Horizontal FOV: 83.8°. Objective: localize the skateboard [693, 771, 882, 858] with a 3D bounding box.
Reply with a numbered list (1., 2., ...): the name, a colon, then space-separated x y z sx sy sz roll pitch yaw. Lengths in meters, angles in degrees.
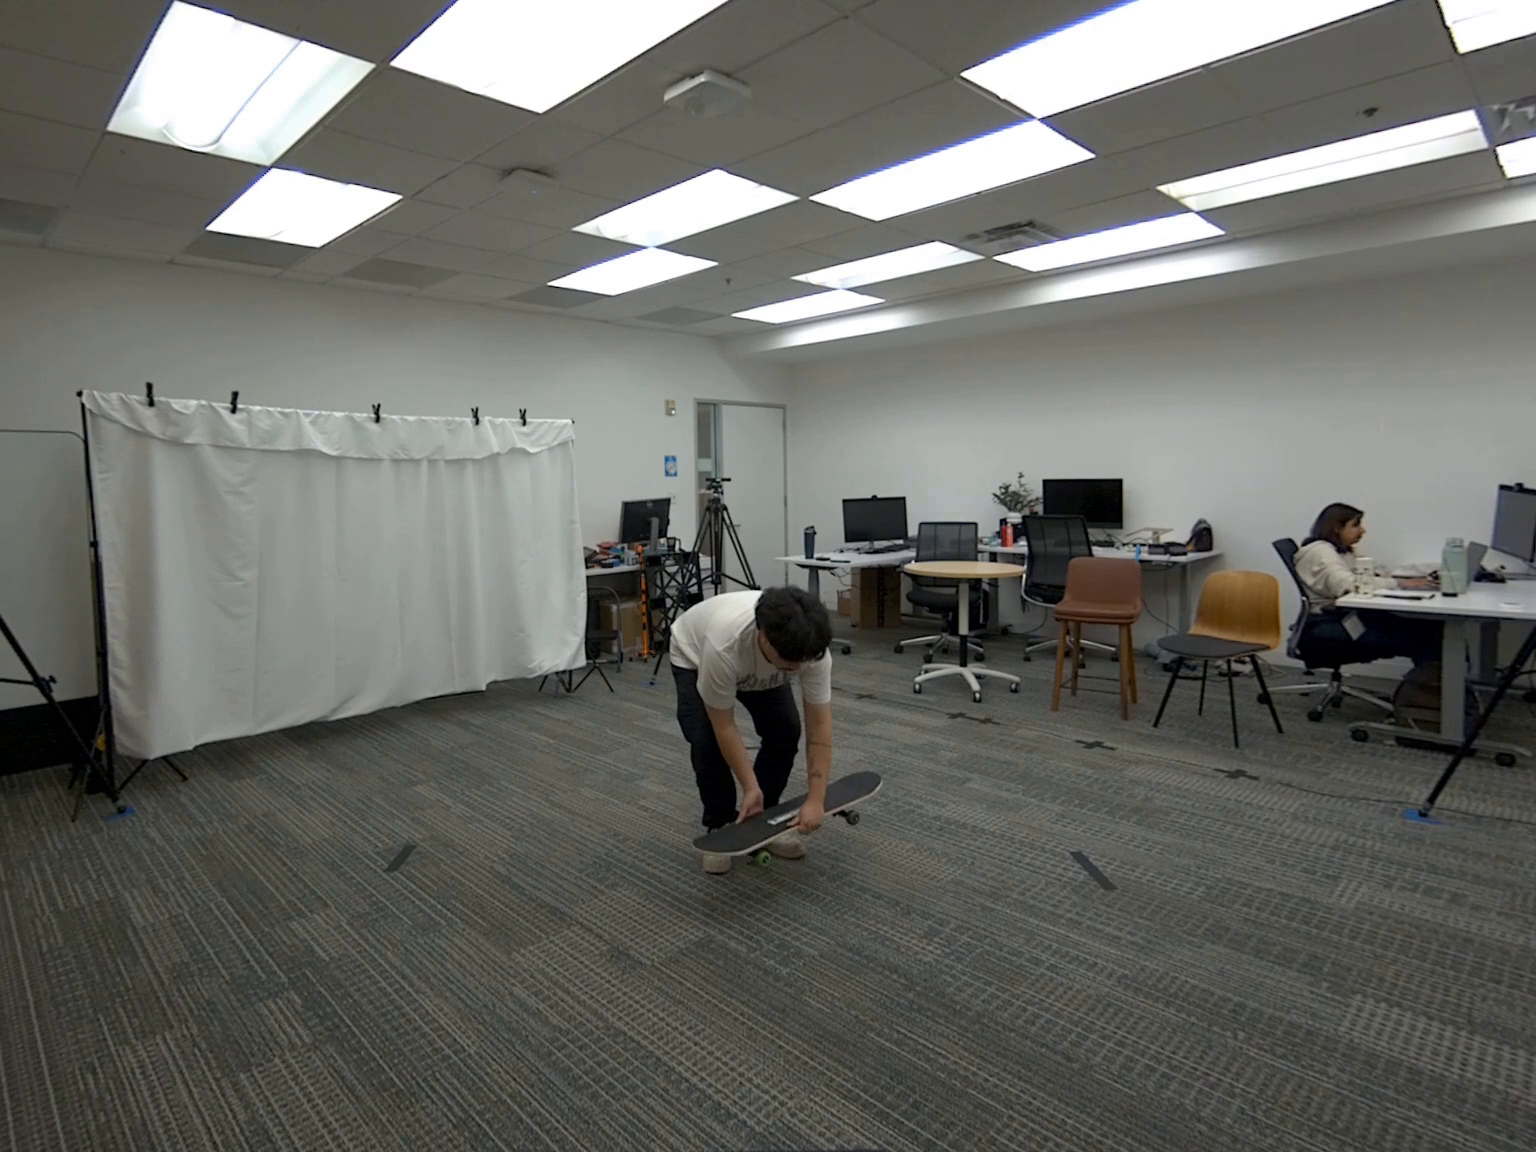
1. skateboard: 0.097 0.841 2.914 0.768 0.109 0.199 -12 9 -35
